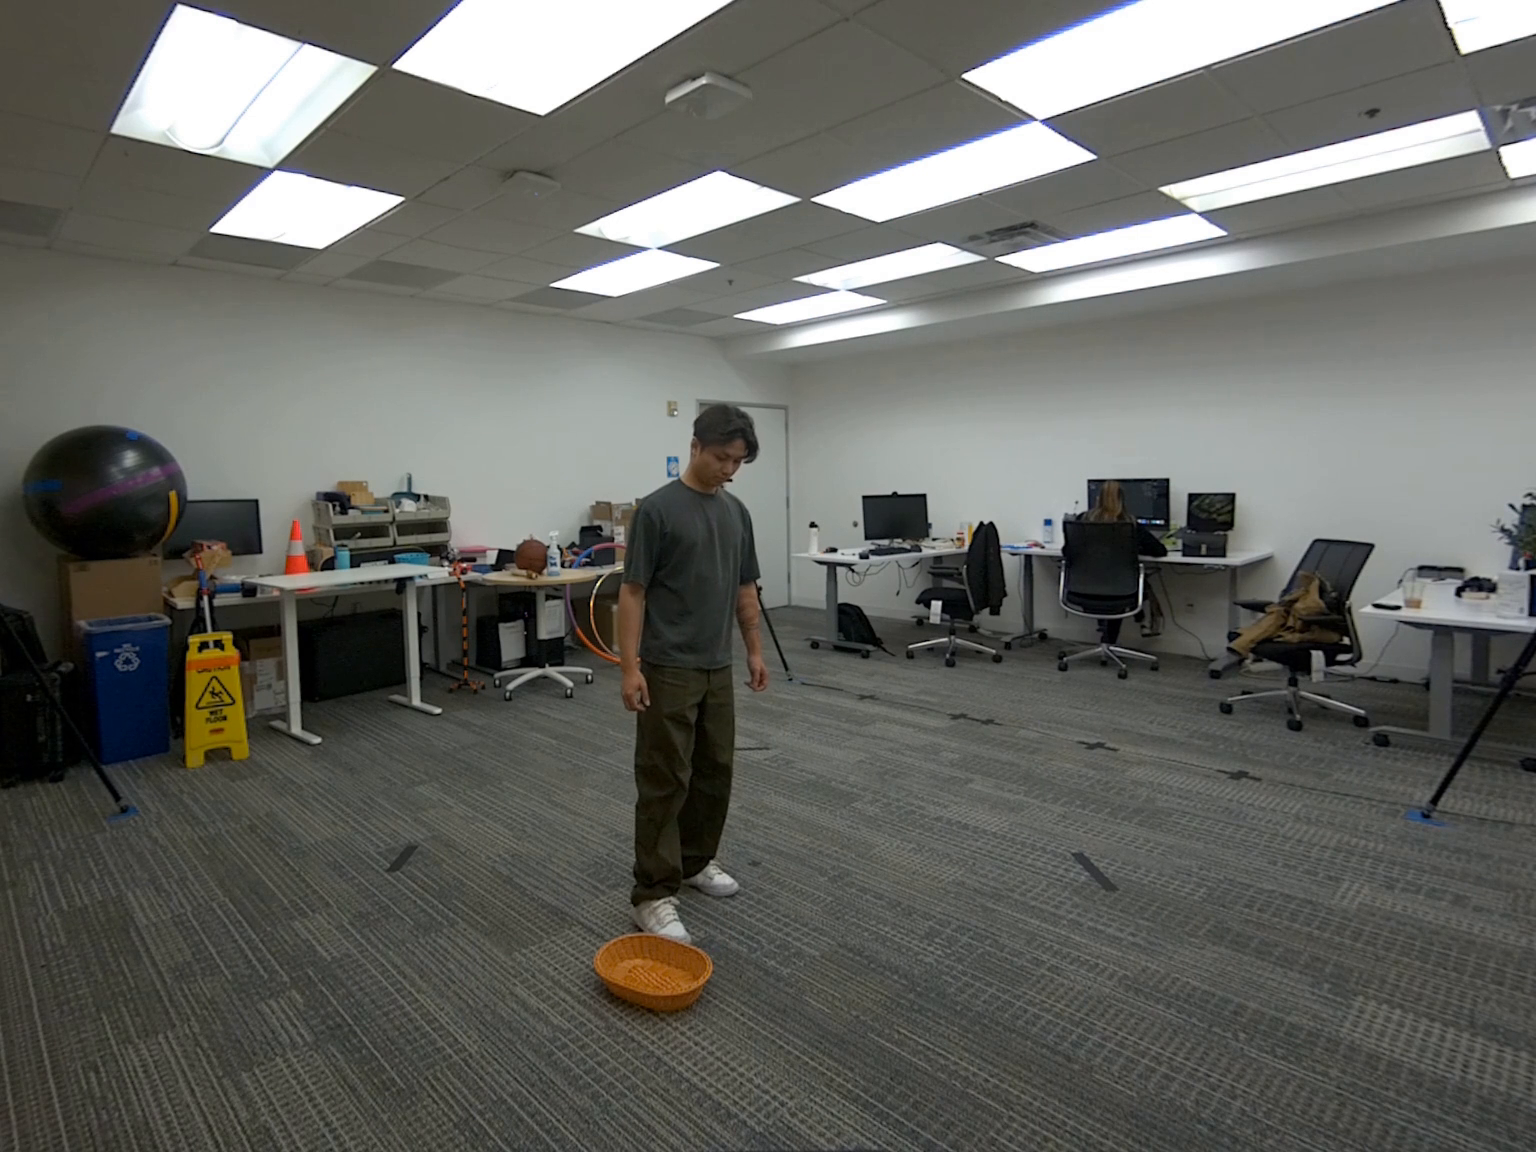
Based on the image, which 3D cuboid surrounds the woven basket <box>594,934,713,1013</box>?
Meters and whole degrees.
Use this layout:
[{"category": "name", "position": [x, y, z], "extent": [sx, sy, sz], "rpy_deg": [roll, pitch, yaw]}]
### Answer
[{"category": "woven basket", "position": [-0.316, 1.104, 2.366], "extent": [0.361, 0.073, 0.246], "rpy_deg": [4, 8, 37]}]
